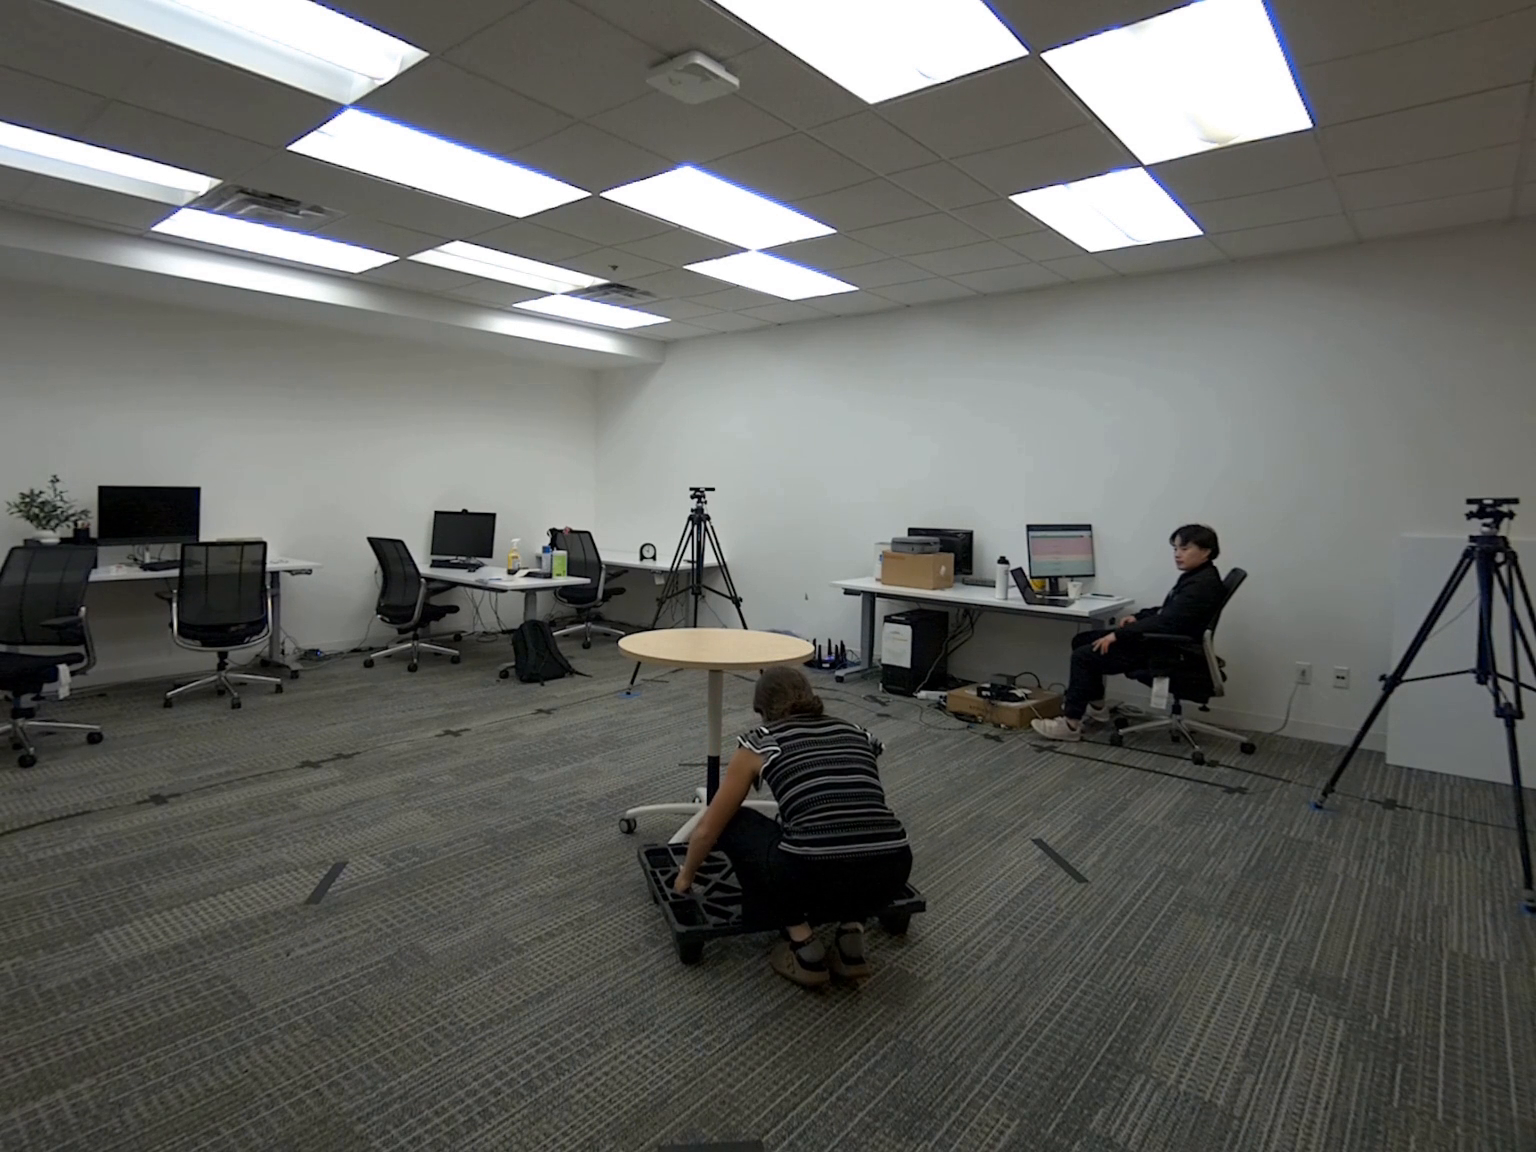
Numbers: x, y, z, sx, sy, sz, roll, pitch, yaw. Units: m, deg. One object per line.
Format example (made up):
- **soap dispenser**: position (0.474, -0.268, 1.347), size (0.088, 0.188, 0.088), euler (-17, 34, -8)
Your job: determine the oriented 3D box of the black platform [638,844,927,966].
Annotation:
- **black platform**: position (0.004, 1.027, 2.798), size (0.791, 0.143, 0.618), euler (0, 5, -18)
